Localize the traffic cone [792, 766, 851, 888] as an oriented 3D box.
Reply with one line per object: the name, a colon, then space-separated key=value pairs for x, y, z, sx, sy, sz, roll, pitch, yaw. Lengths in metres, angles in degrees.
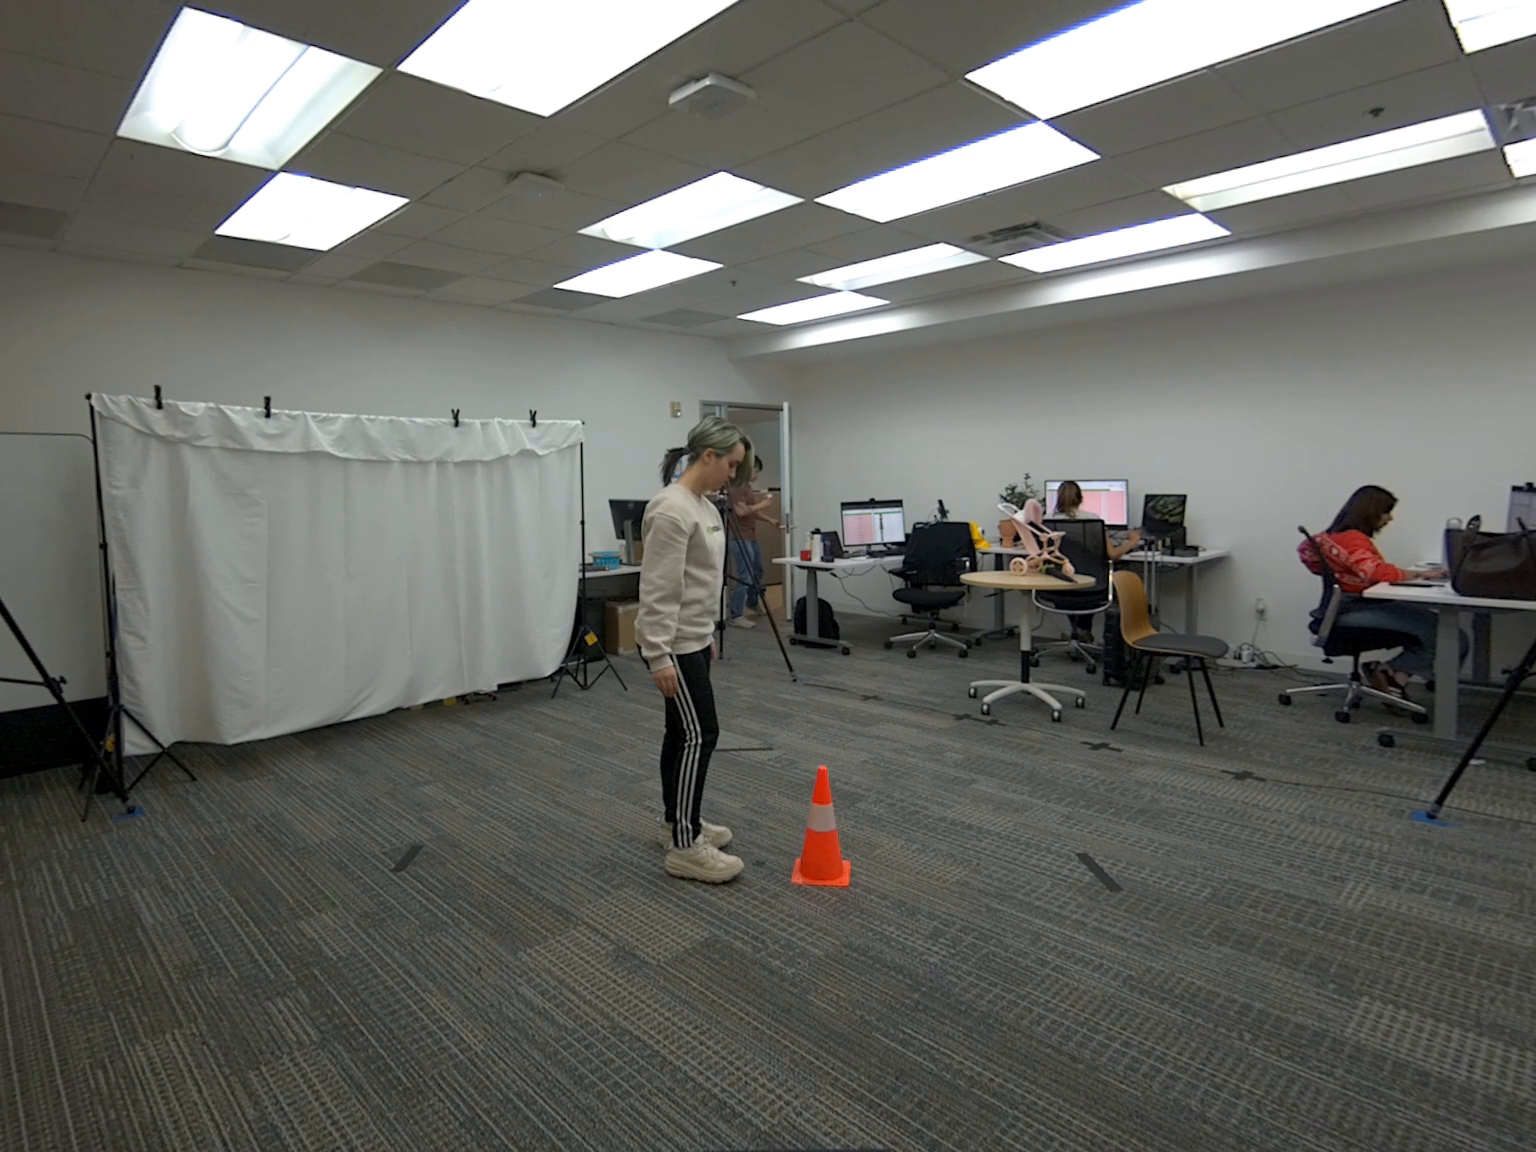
traffic cone: x=0.189 y=0.866 z=3.017 sx=0.205 sy=0.382 sz=0.204 roll=0 pitch=5 yaw=10
